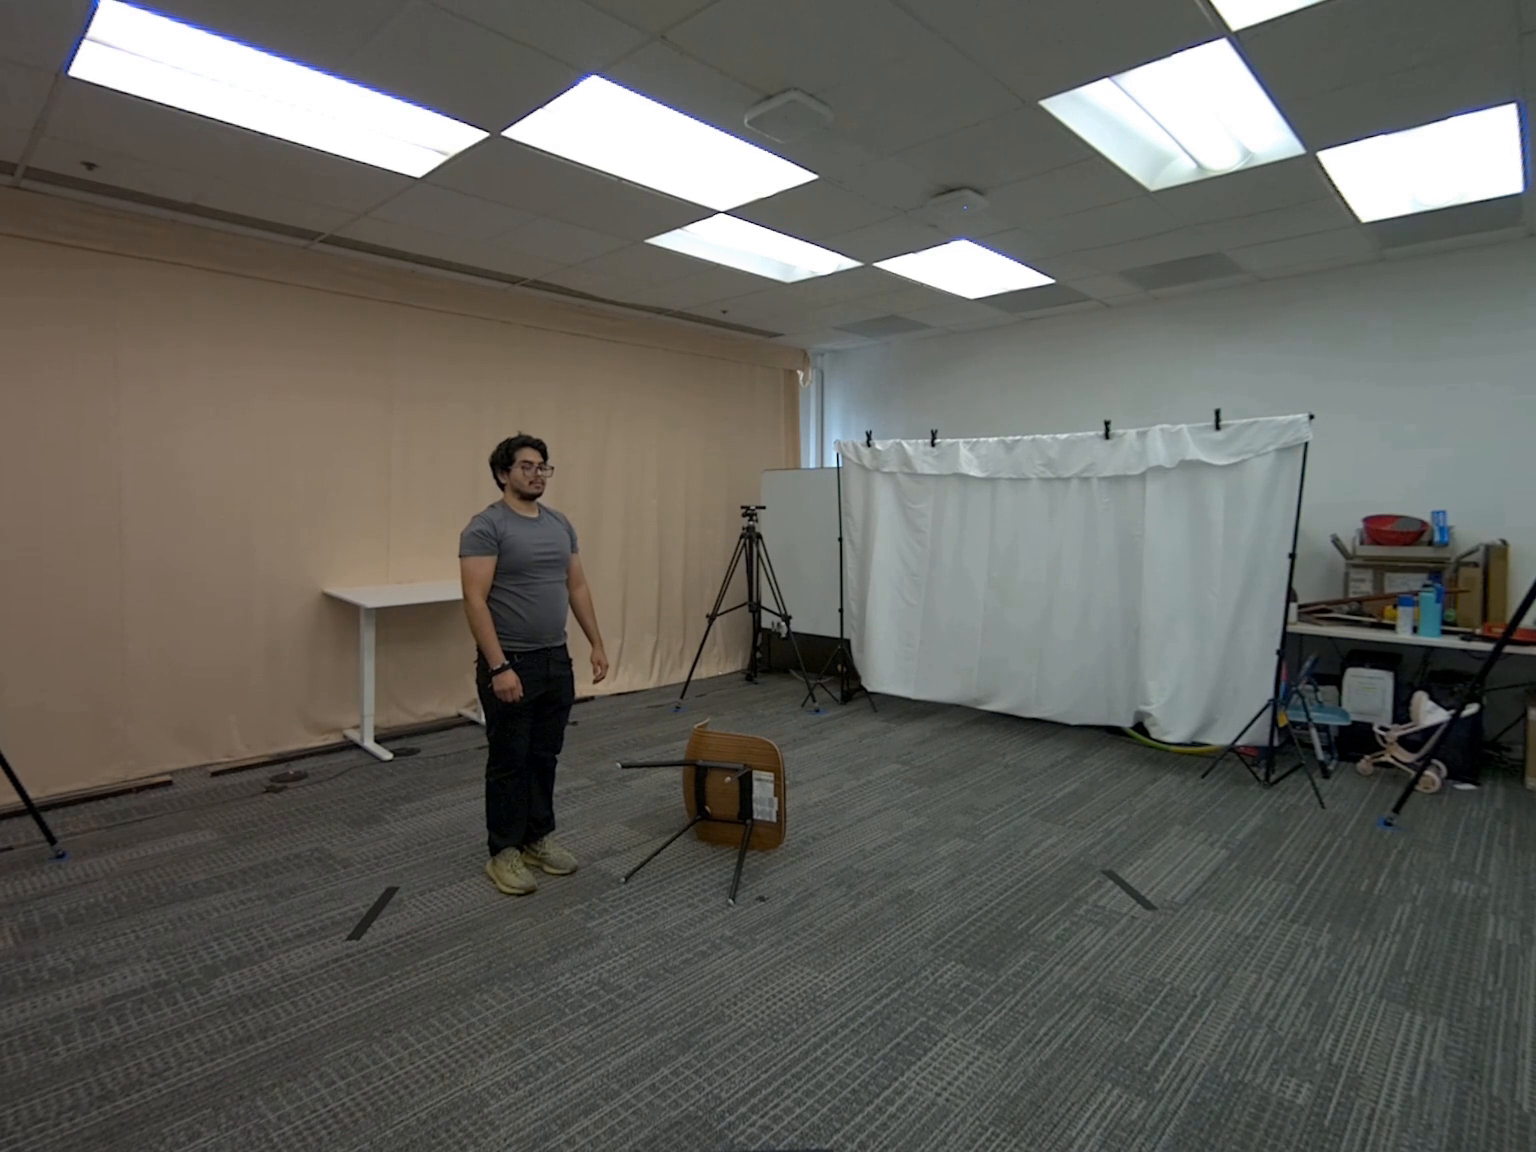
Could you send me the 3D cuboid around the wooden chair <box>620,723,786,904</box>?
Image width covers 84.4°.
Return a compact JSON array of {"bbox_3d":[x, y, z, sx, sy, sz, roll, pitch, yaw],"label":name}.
[{"bbox_3d":[-0.180,0.876,3.397,0.533,0.477,0.863,0,4,17],"label":"wooden chair"}]
